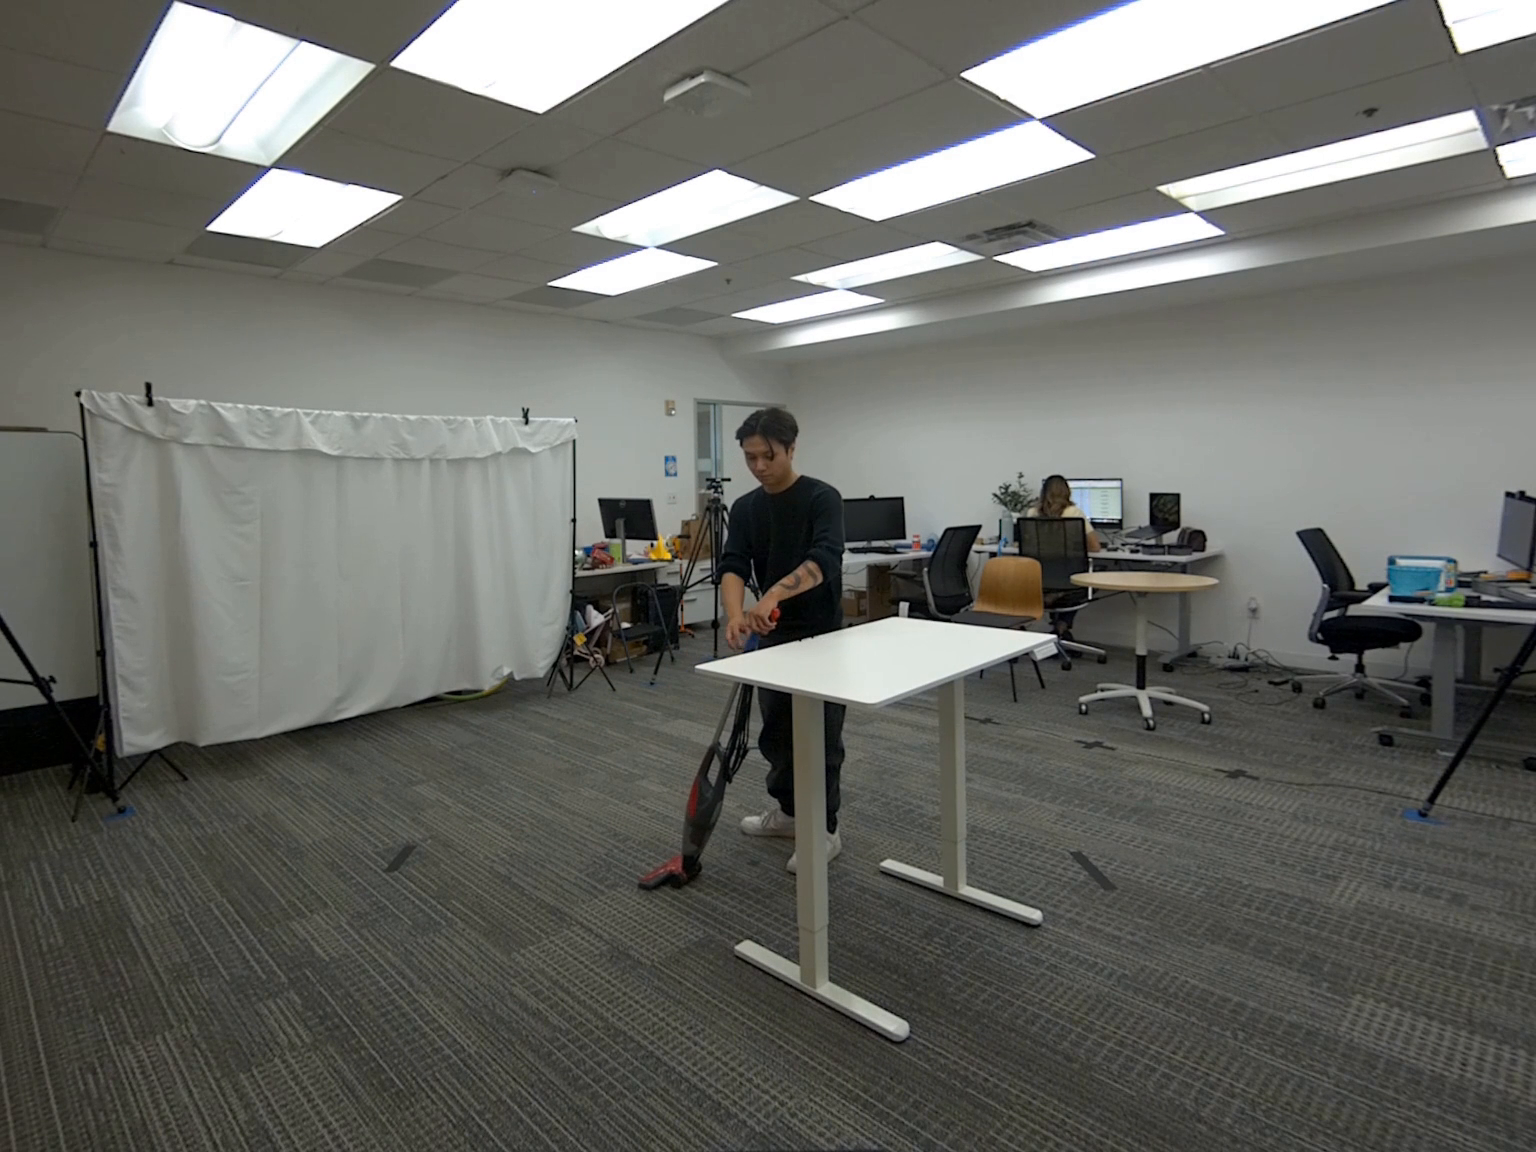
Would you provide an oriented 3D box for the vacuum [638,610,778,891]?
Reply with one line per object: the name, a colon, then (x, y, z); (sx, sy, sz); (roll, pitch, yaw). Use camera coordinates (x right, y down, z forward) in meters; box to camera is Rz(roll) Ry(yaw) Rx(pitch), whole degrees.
vacuum: (-0.149, 0.586, 2.856); (0.148, 1.040, 0.248); (26, 17, 22)
